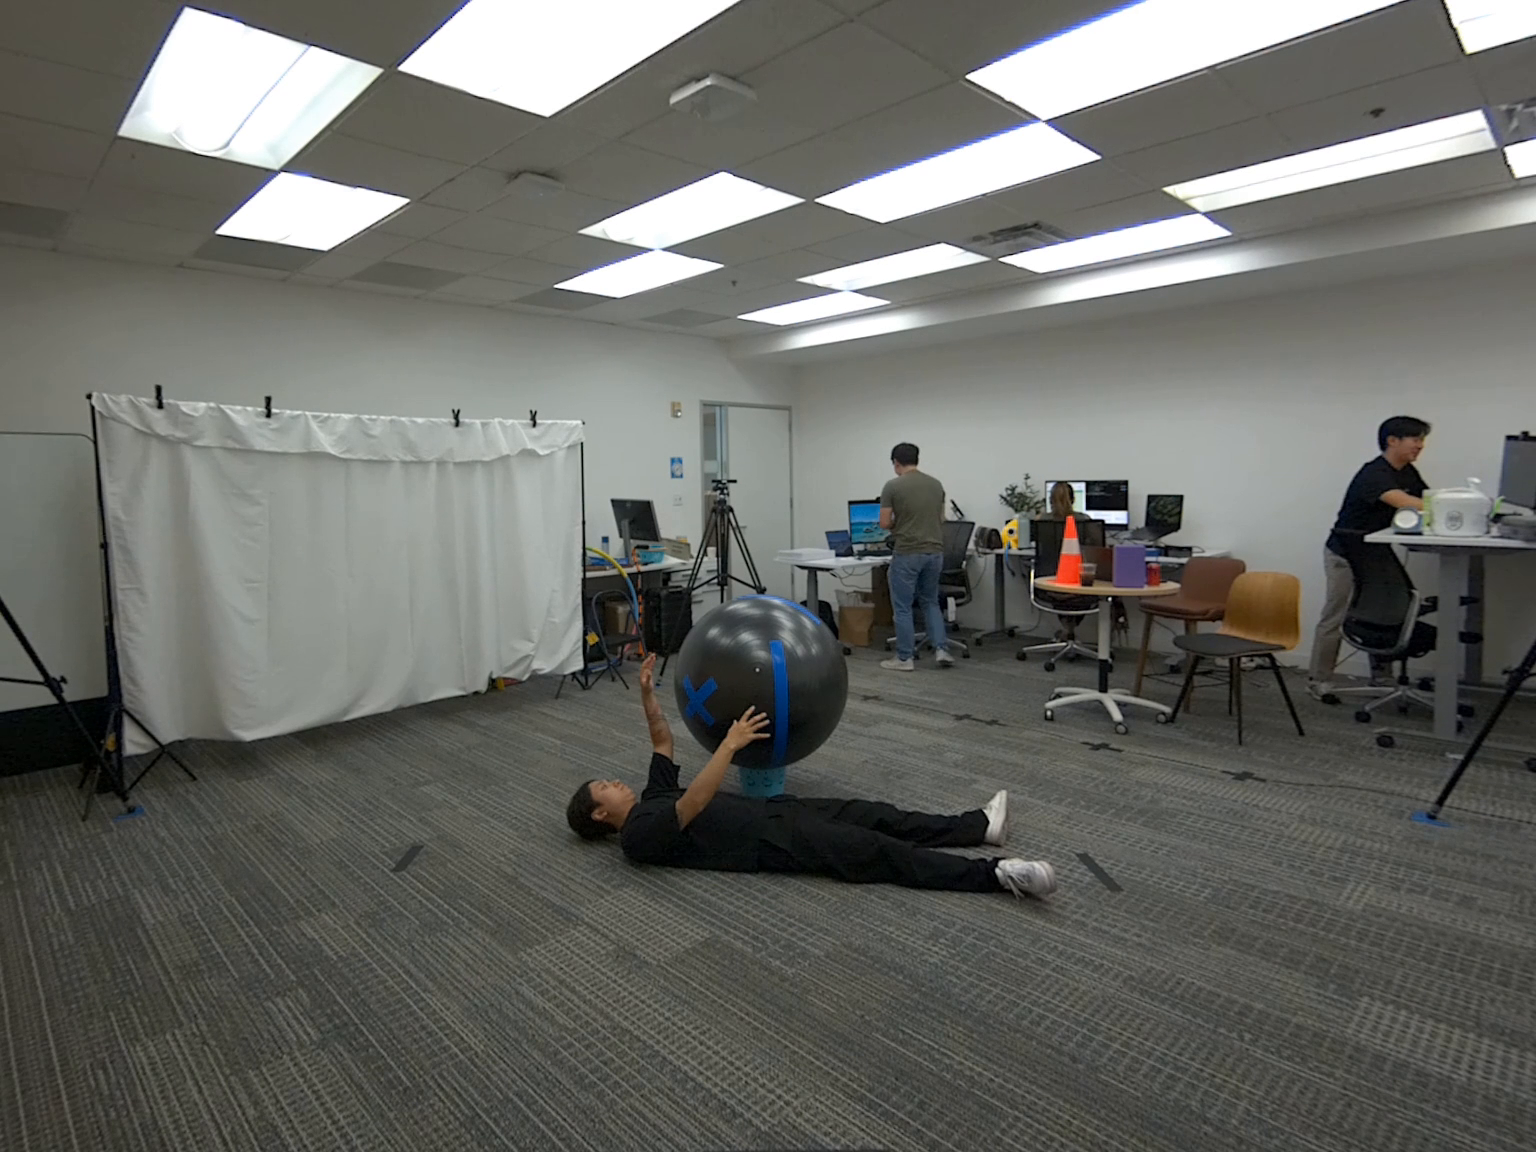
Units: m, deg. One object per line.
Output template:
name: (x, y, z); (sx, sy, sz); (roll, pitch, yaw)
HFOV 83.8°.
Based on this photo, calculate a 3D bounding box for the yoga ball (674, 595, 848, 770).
yoga ball: (-0.029, 0.467, 3.765); (0.757, 0.755, 0.762); (-1, 5, -2)
